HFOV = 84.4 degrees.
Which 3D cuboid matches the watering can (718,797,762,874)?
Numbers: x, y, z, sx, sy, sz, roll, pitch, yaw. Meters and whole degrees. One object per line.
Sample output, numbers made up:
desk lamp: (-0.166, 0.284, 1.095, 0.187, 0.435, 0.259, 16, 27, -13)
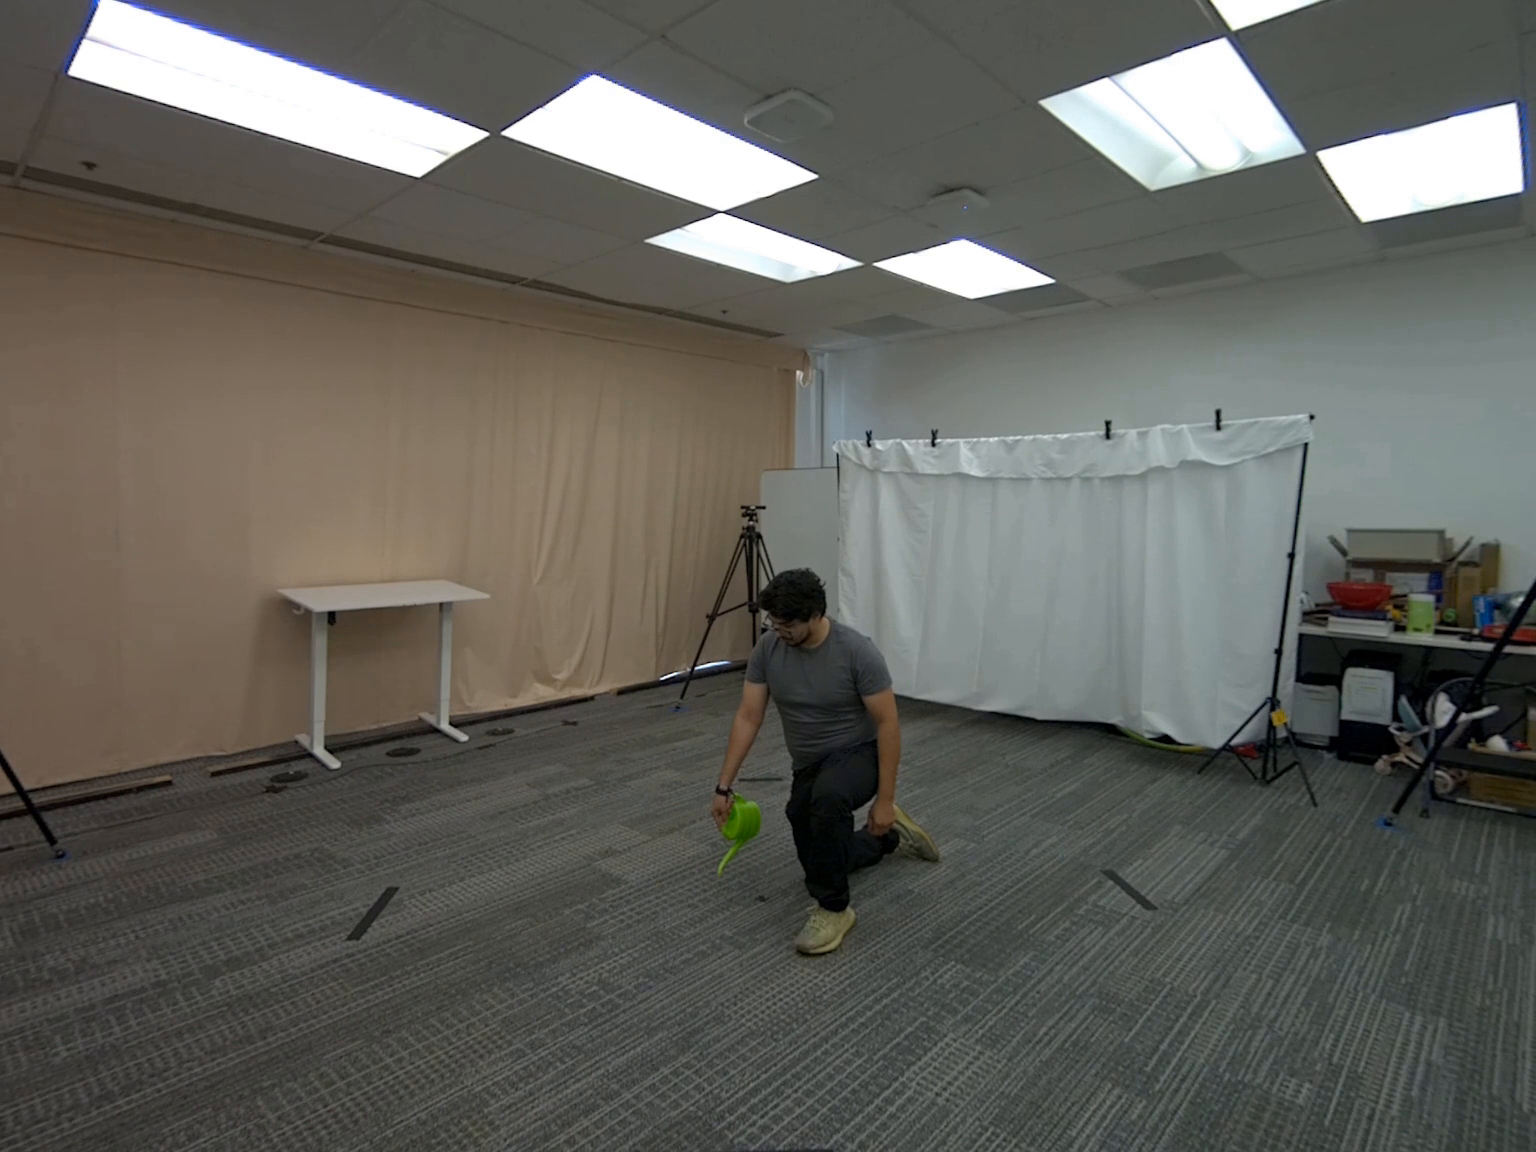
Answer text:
watering can: (-0.116, 0.940, 3.067, 0.101, 0.278, 0.170, 11, -5, 39)
